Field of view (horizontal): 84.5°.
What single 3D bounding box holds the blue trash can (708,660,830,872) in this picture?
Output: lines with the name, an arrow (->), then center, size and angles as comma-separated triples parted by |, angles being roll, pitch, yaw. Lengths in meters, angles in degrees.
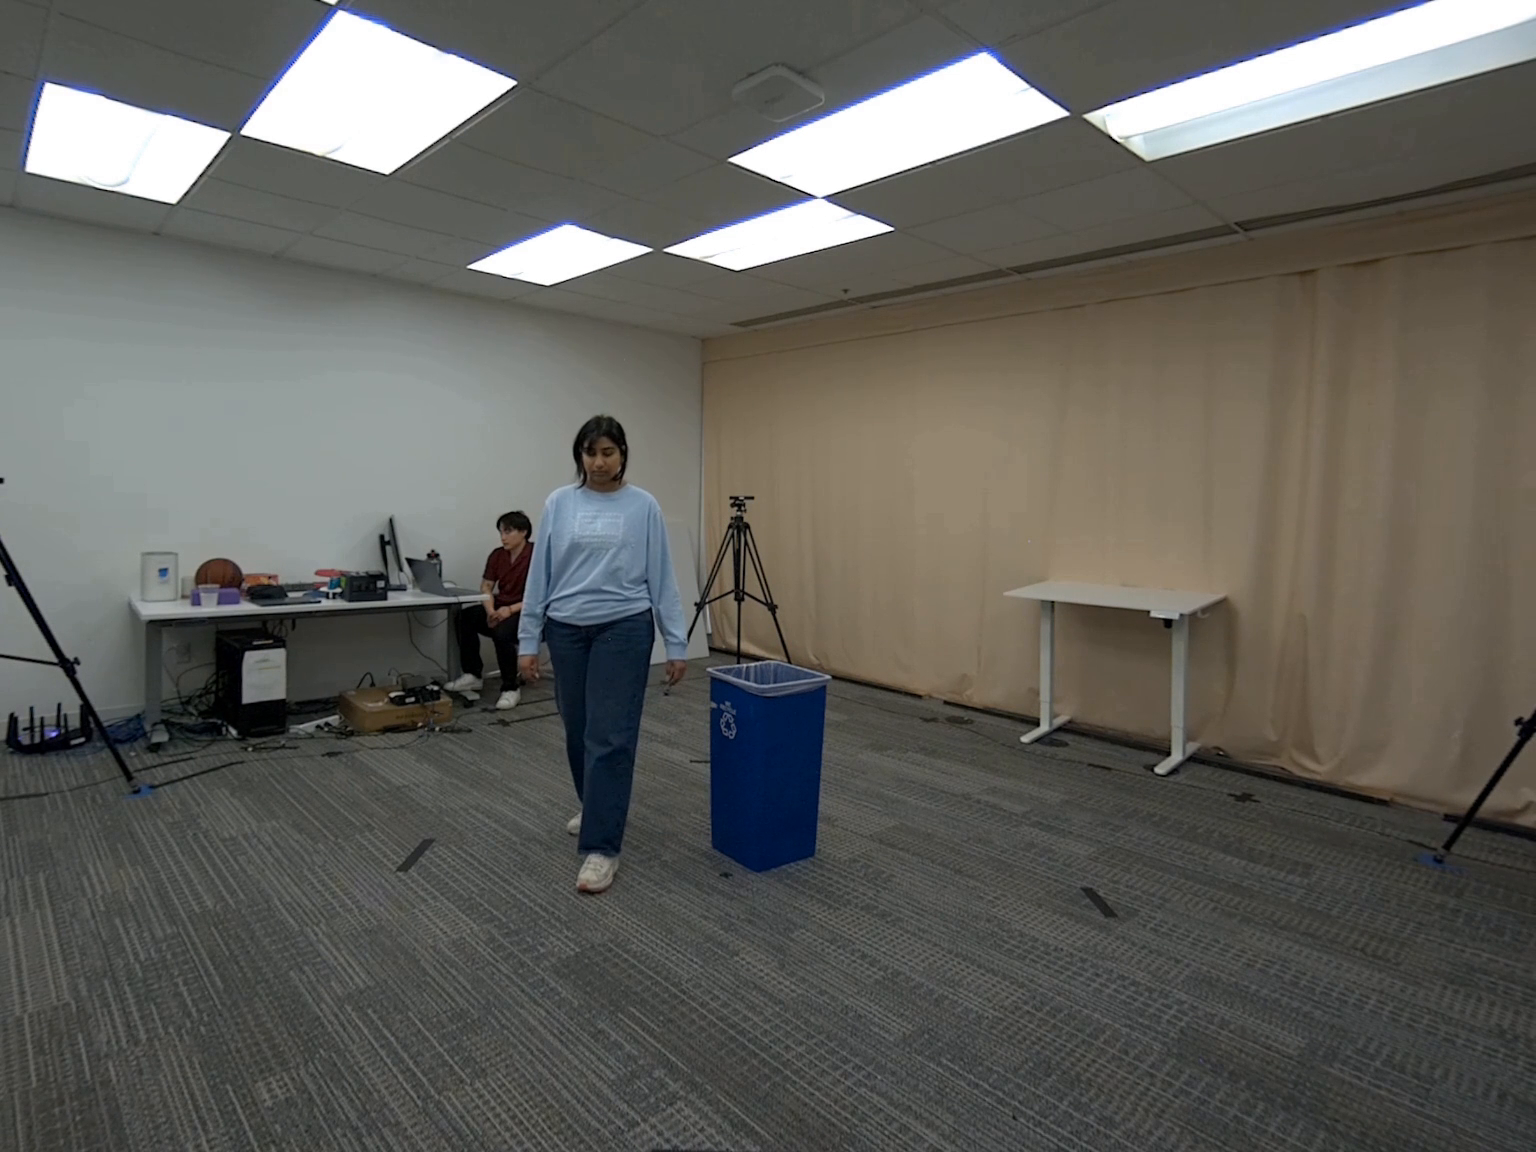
blue trash can -> -0.012, 0.731, 3.308 | 0.370, 0.712, 0.383 | -2, 4, -38
